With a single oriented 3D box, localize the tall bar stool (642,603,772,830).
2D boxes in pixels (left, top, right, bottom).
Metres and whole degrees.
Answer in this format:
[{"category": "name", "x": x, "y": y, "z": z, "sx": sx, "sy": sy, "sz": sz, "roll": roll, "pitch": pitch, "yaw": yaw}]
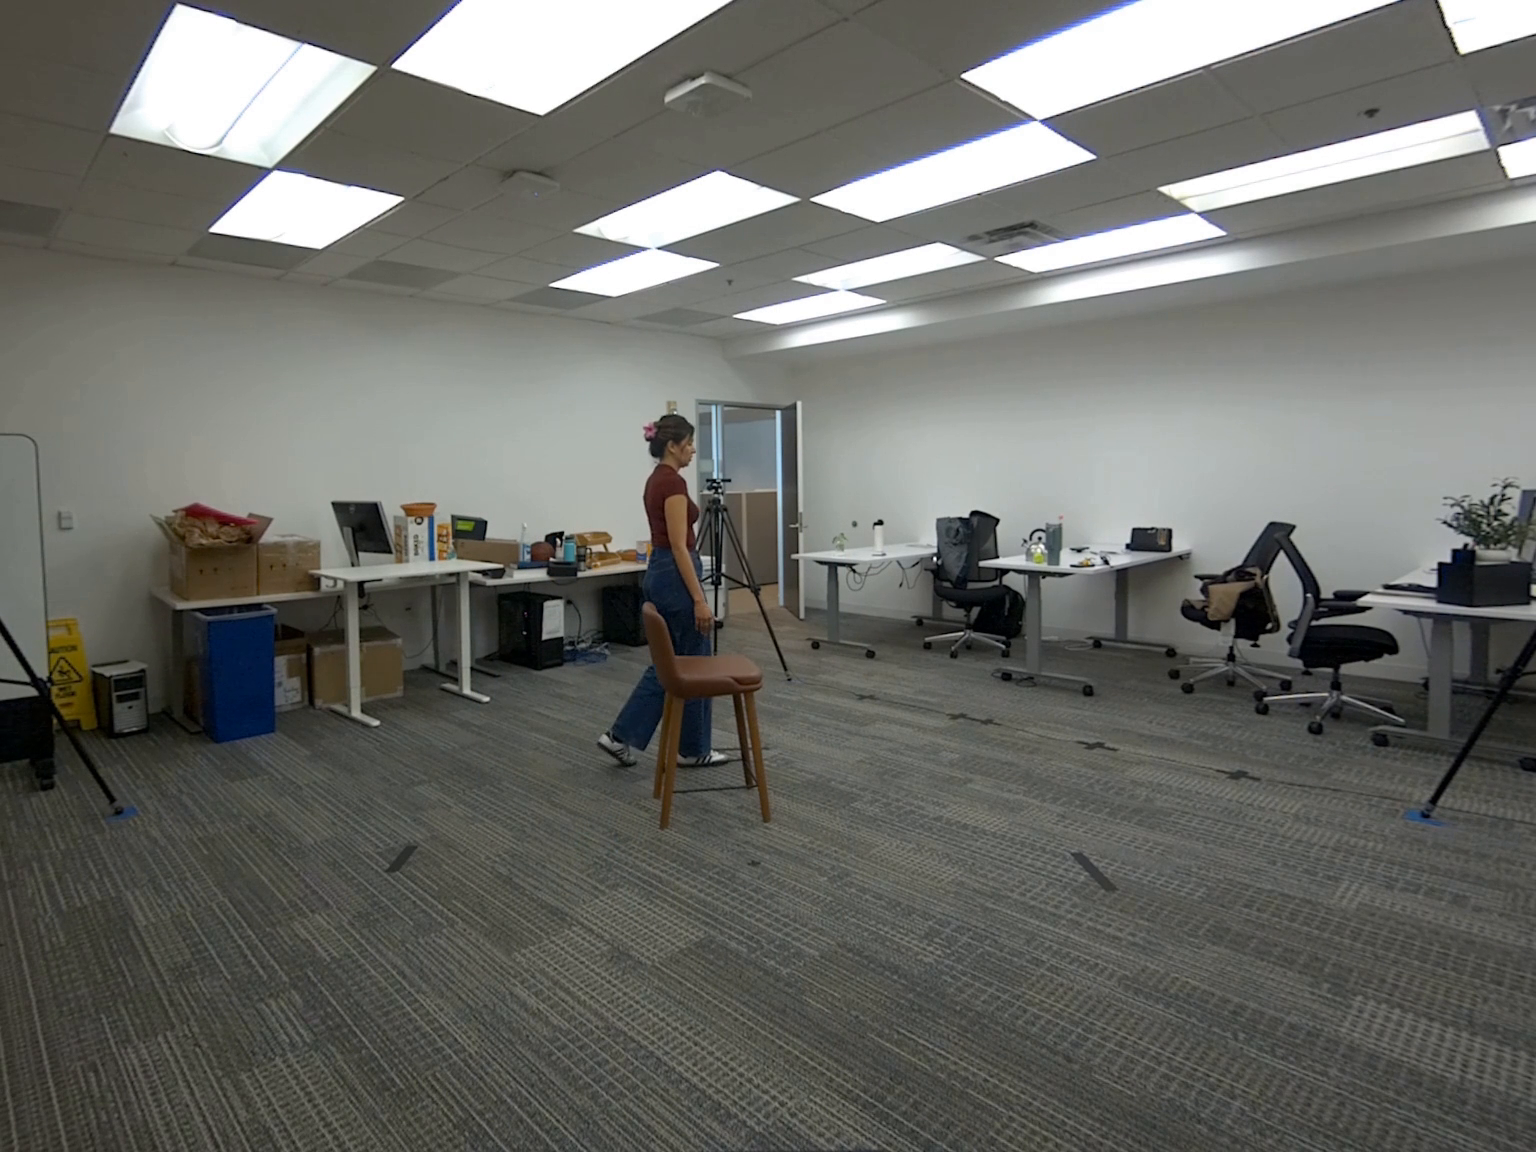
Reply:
[{"category": "tall bar stool", "x": -0.263, "y": 0.559, "z": 3.620, "sx": 0.463, "sy": 0.887, "sz": 0.462, "roll": -3, "pitch": 3, "yaw": -11}]
